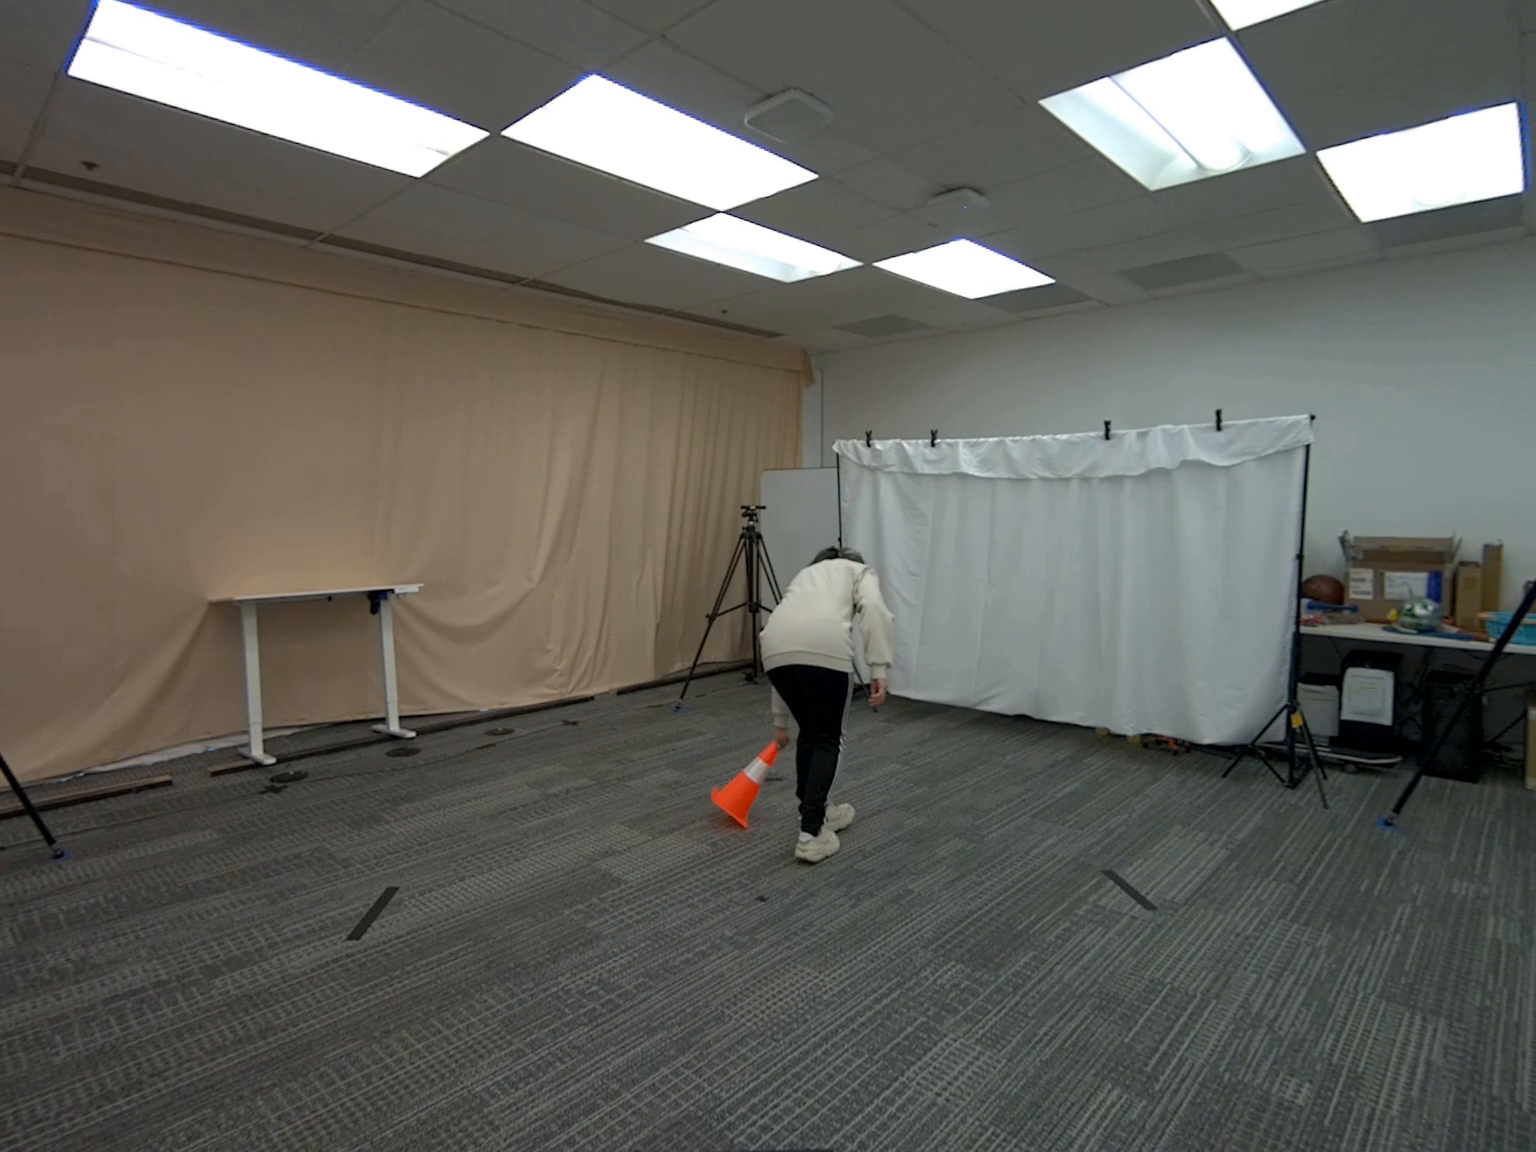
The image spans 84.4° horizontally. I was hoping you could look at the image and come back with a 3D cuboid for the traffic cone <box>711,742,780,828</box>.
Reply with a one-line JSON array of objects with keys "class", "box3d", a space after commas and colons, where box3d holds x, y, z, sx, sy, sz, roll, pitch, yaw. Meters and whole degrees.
[{"class": "traffic cone", "box3d": [-0.056, 0.875, 3.710, 0.203, 0.383, 0.205, 39, -1, 0]}]
